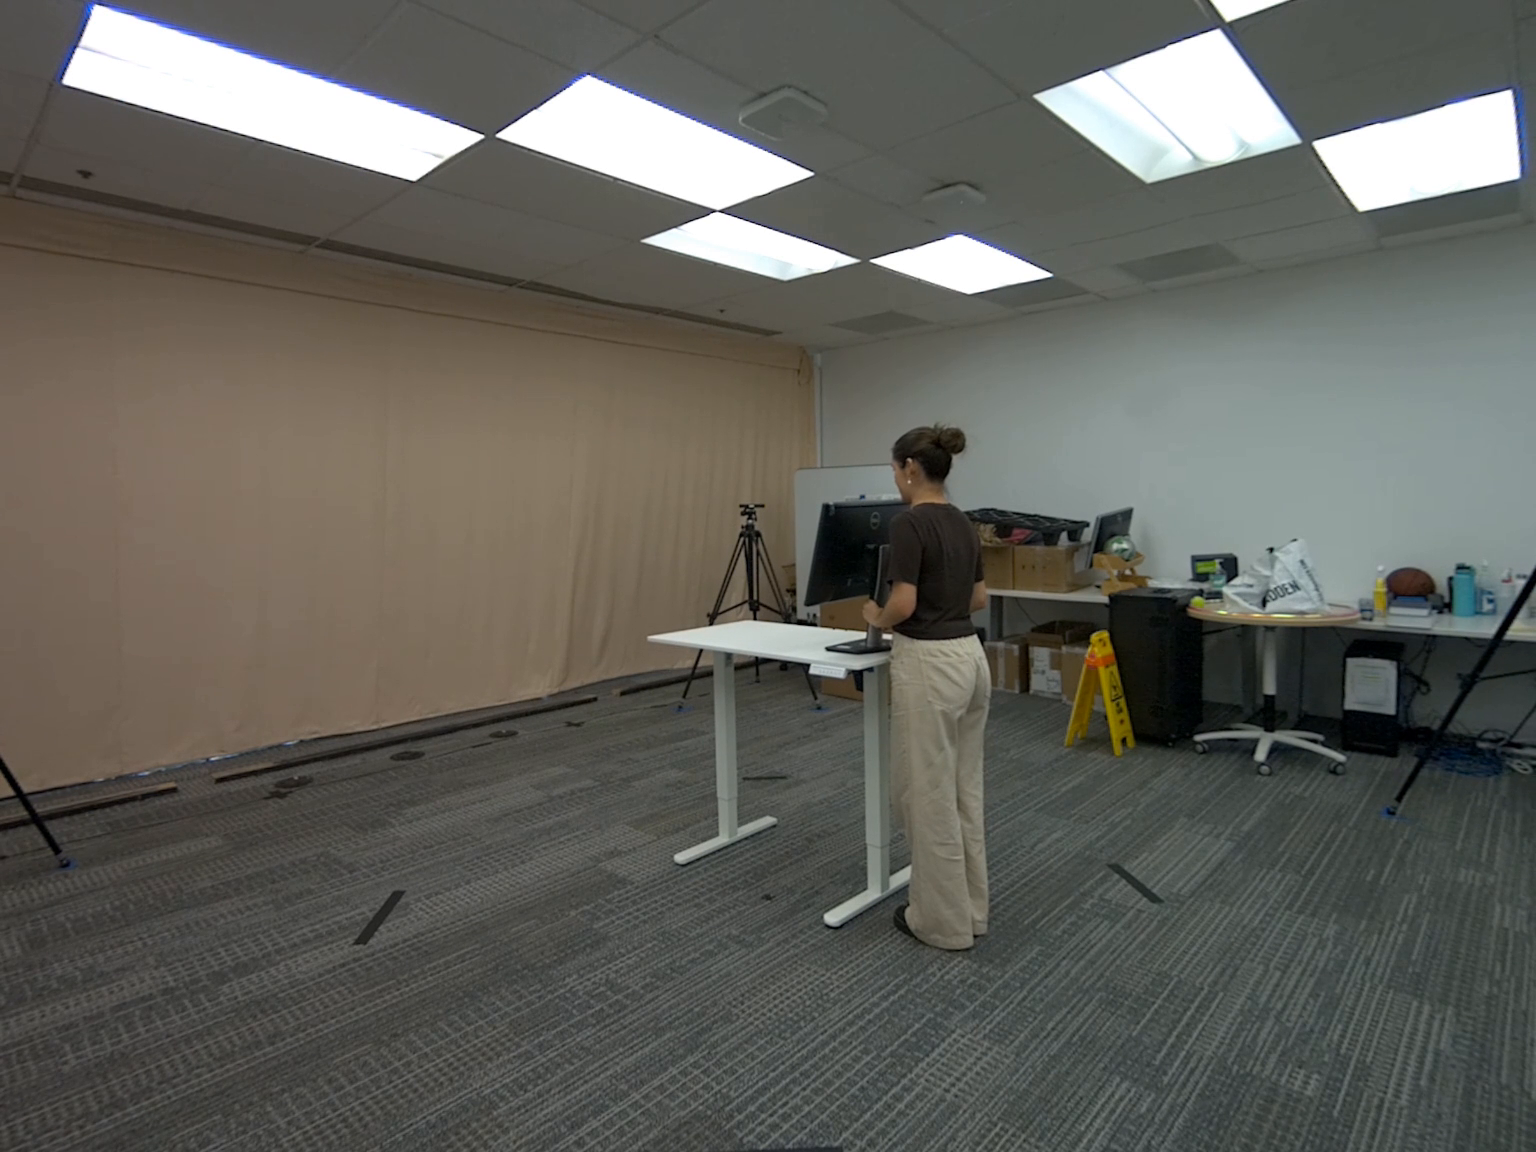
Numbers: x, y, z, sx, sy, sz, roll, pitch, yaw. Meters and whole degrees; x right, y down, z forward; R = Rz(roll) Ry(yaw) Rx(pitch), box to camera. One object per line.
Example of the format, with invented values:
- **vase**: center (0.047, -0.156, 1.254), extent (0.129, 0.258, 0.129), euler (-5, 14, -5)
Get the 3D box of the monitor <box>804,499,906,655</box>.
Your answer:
- **monitor**: center (0.350, -0.004, 2.929), extent (0.180, 0.515, 0.514), euler (-2, 4, 41)
